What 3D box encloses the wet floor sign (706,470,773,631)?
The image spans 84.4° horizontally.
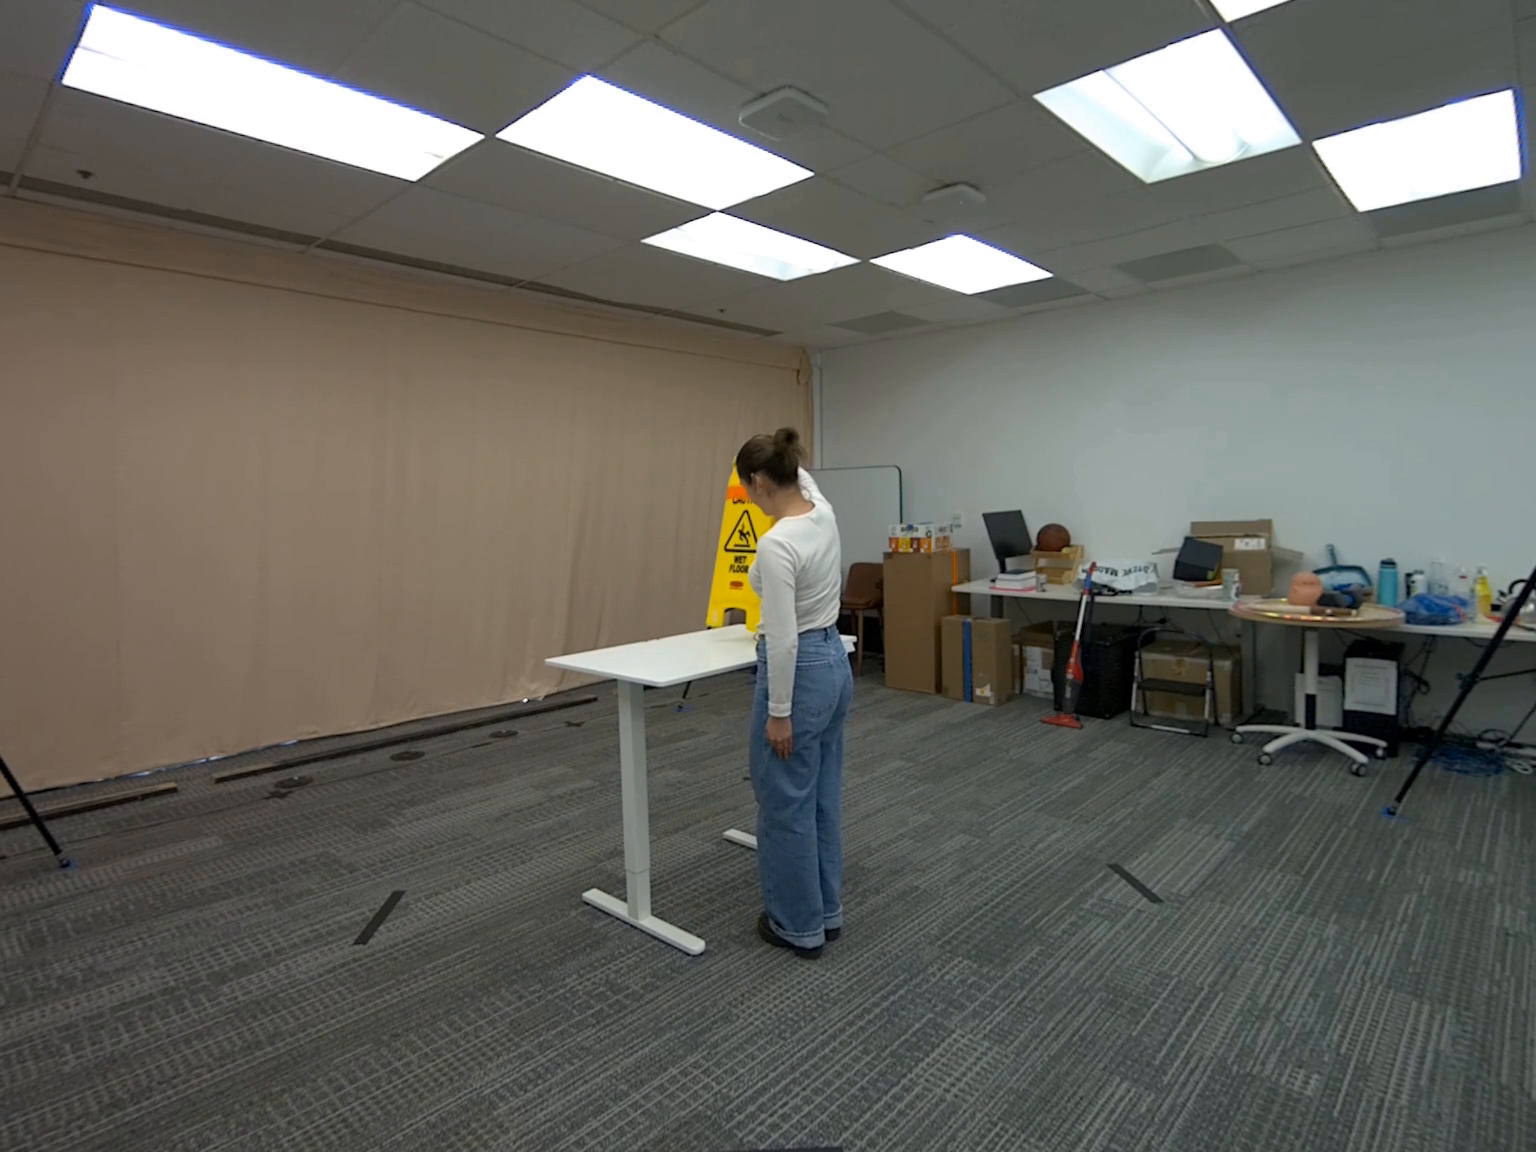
[{"bbox_3d":[-0.040,-0.140,3.185,0.291,0.645,0.281,2,3,42],"label":"wet floor sign"}]
